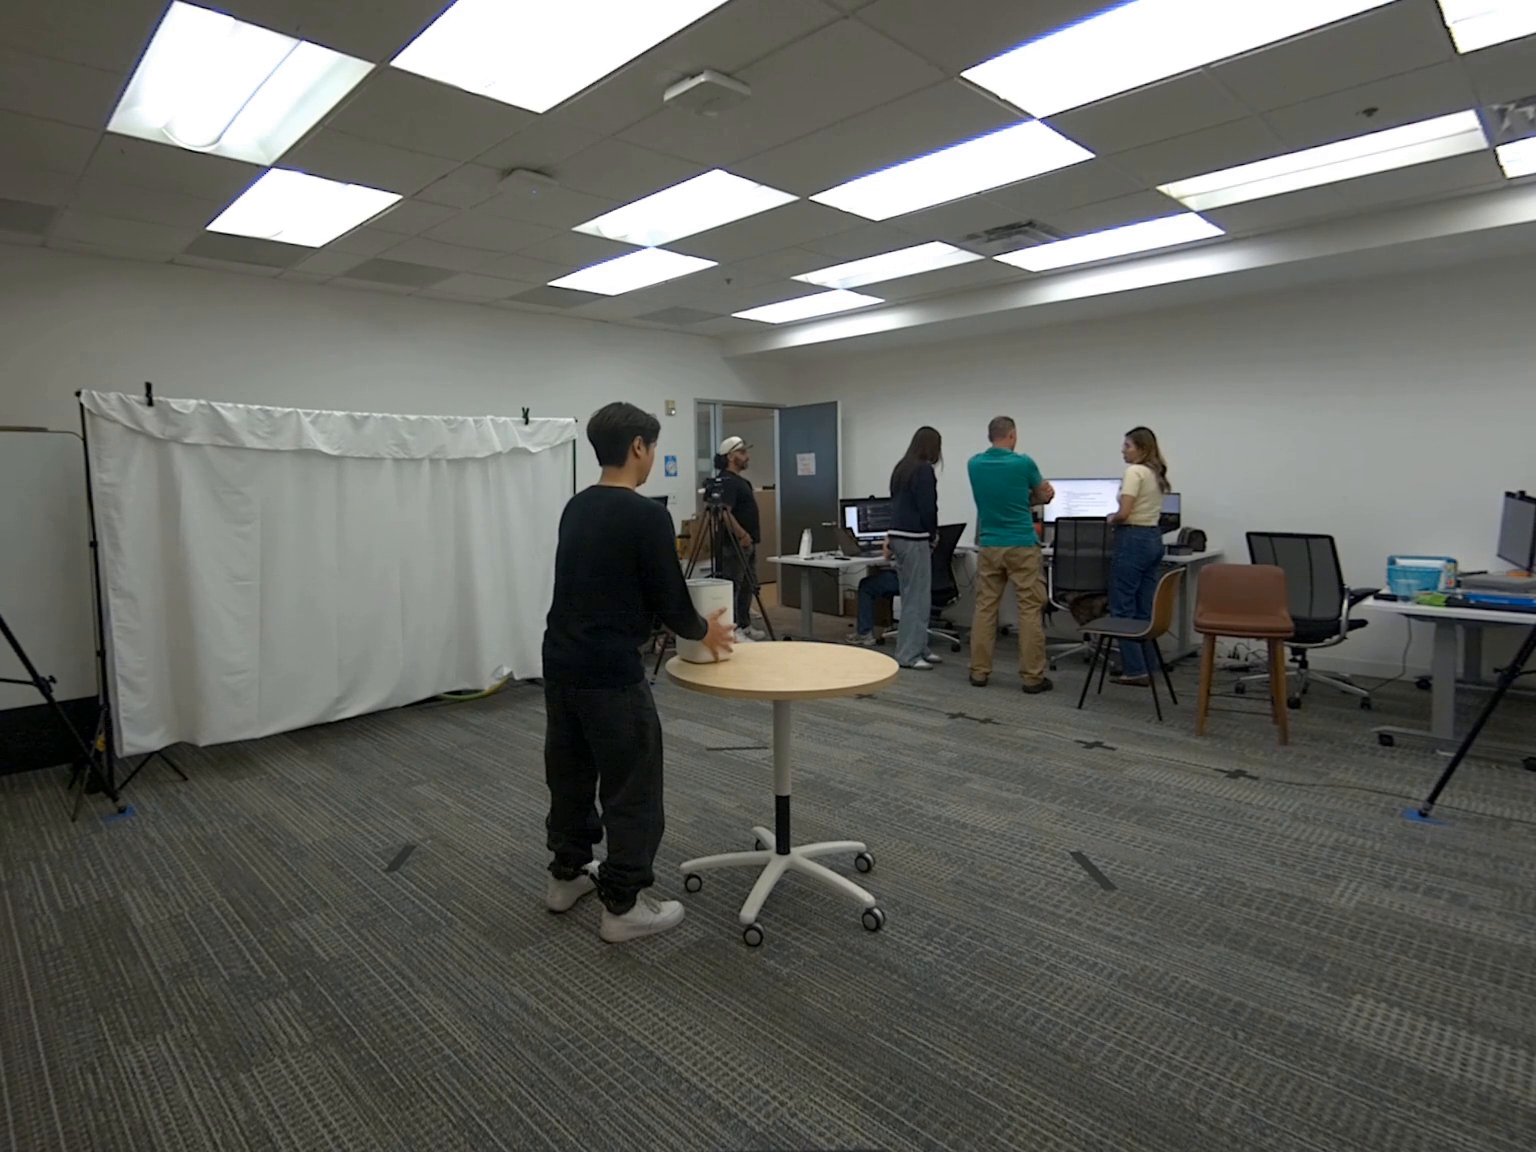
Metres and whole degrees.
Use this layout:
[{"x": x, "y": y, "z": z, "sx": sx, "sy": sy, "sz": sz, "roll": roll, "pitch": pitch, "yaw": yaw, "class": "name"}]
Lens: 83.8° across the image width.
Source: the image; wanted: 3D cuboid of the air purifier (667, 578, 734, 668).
[{"x": -0.212, "y": 0.149, "z": 2.902, "sx": 0.167, "sy": 0.264, "sz": 0.176, "roll": -5, "pitch": 6, "yaw": -33, "class": "air purifier"}]
